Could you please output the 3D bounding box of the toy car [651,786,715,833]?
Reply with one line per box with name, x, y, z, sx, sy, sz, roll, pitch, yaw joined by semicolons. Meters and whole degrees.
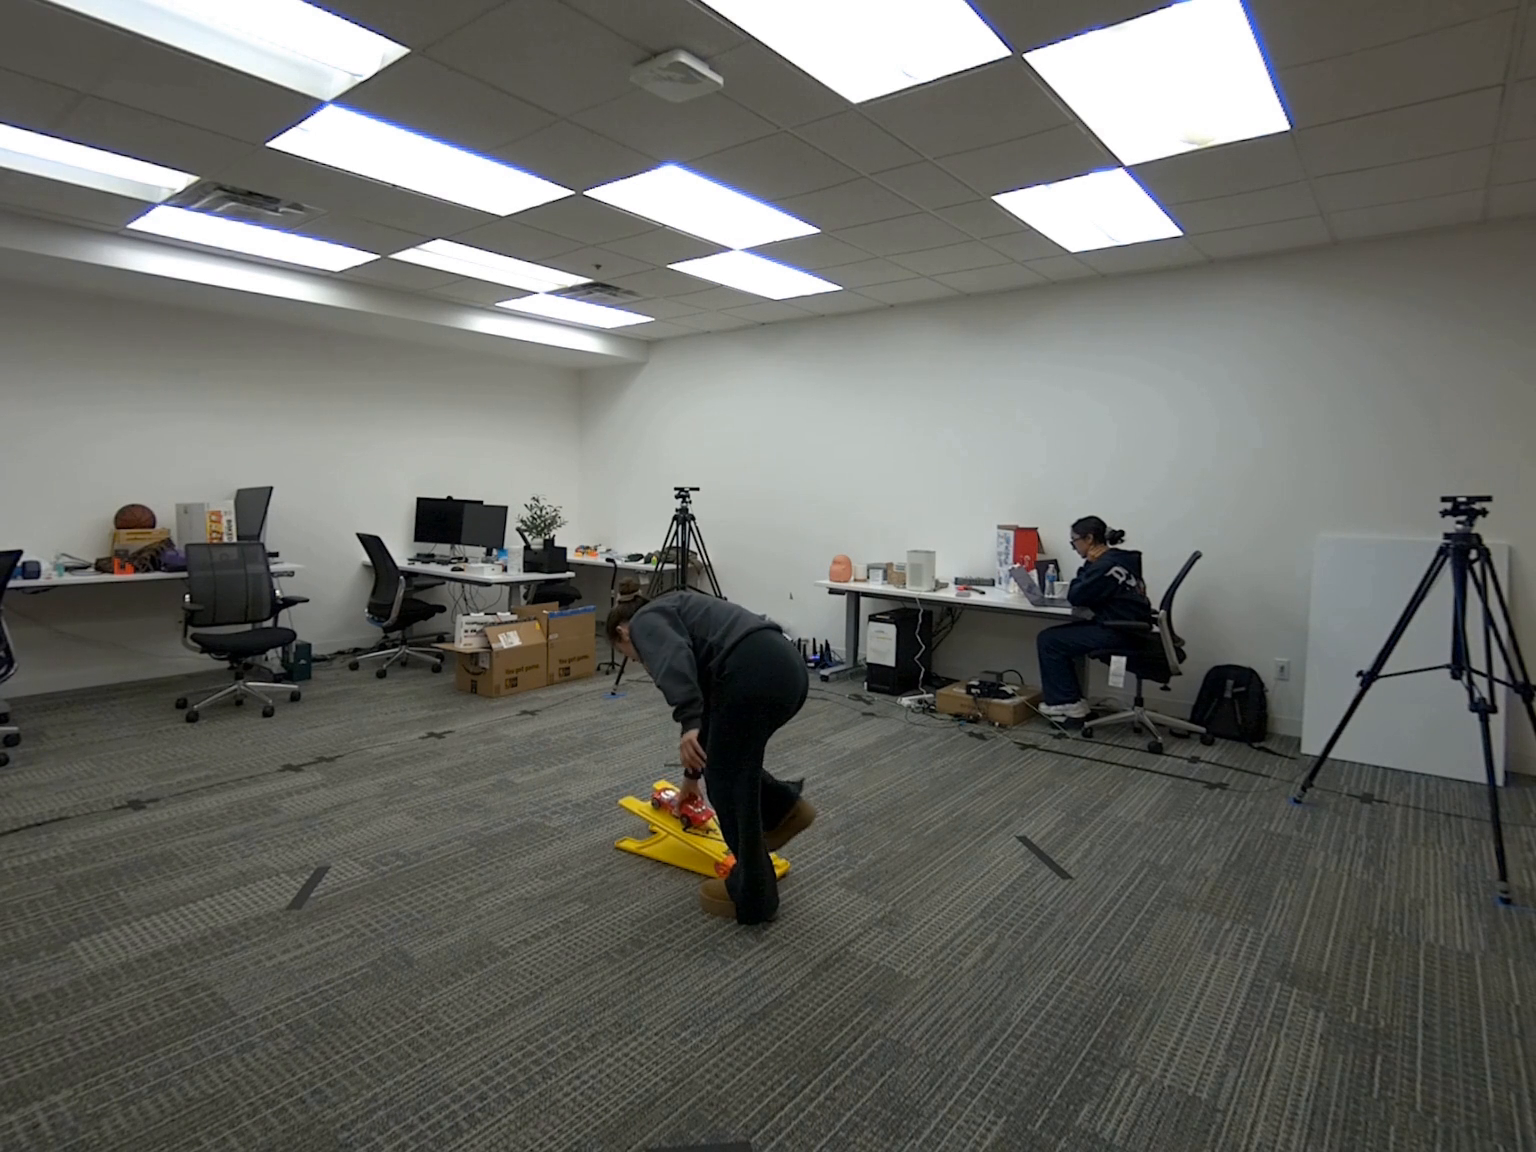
toy car;-0.320;0.880;3.216;0.263;0.083;0.127;9;8;33
